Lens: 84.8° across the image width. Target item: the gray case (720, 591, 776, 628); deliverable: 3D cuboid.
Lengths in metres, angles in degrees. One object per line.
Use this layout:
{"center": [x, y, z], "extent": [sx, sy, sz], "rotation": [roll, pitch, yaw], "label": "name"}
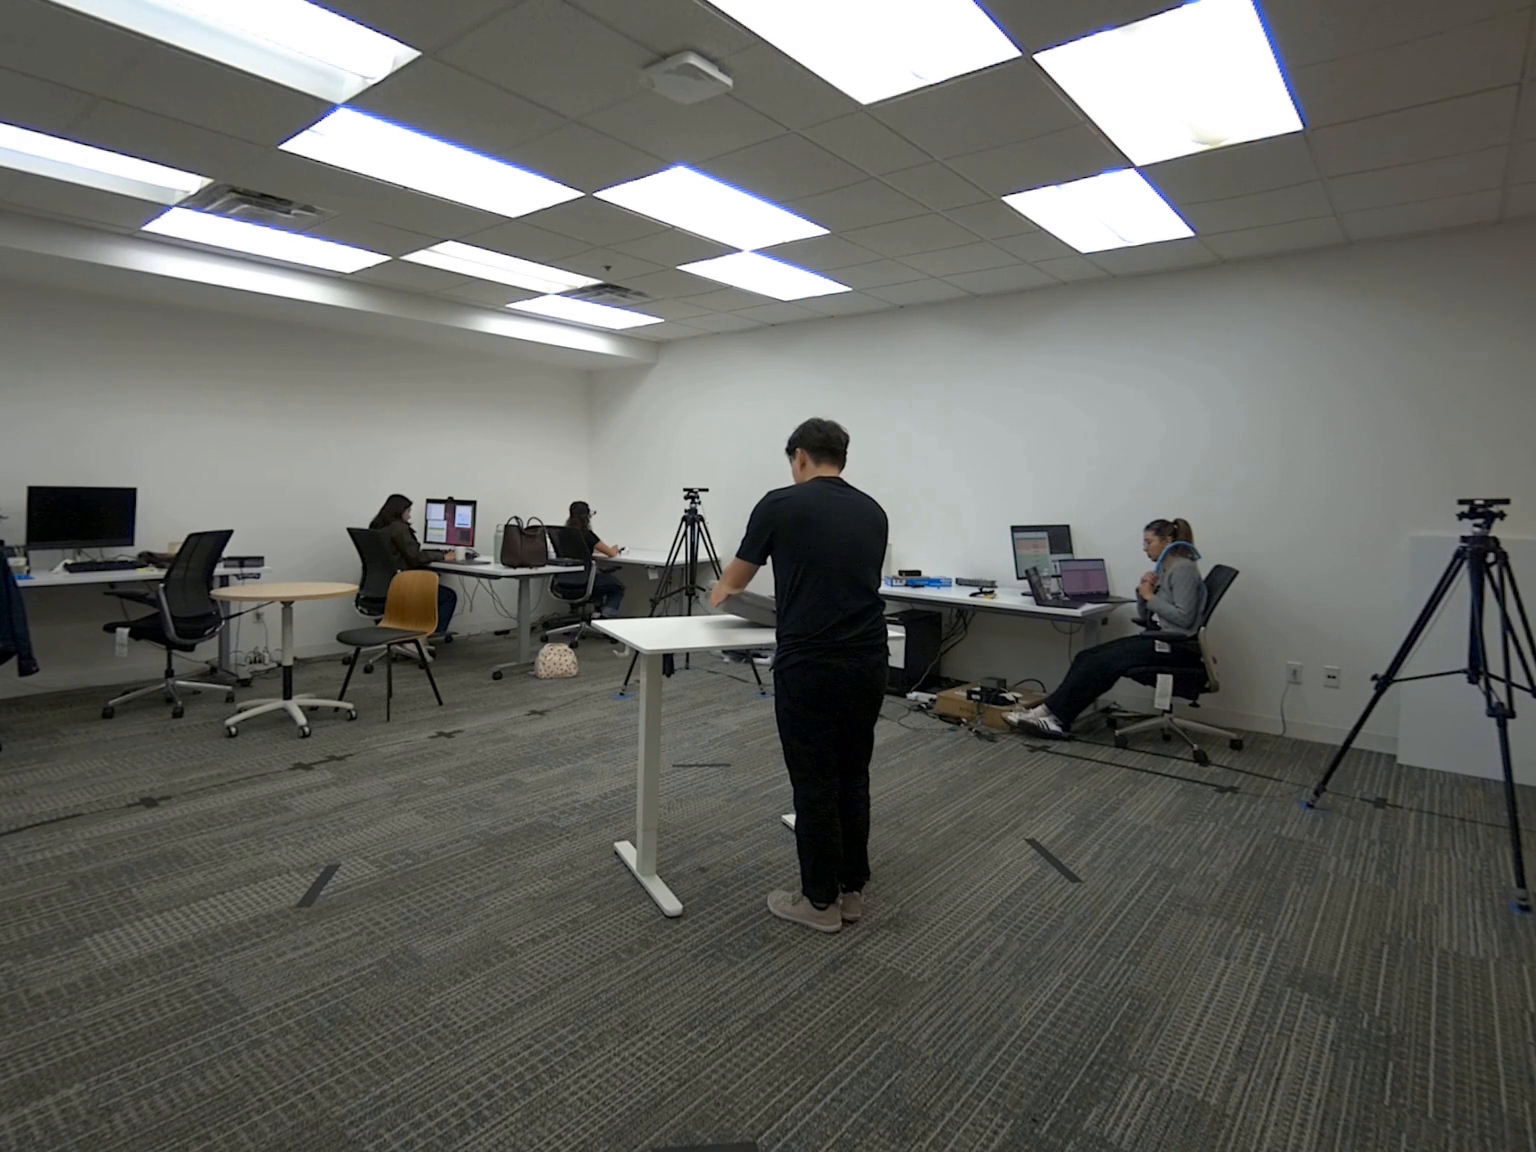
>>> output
{"center": [-0.098, 0.098, 3.212], "extent": [0.251, 0.104, 0.266], "rotation": [16, -1, -20], "label": "gray case"}
